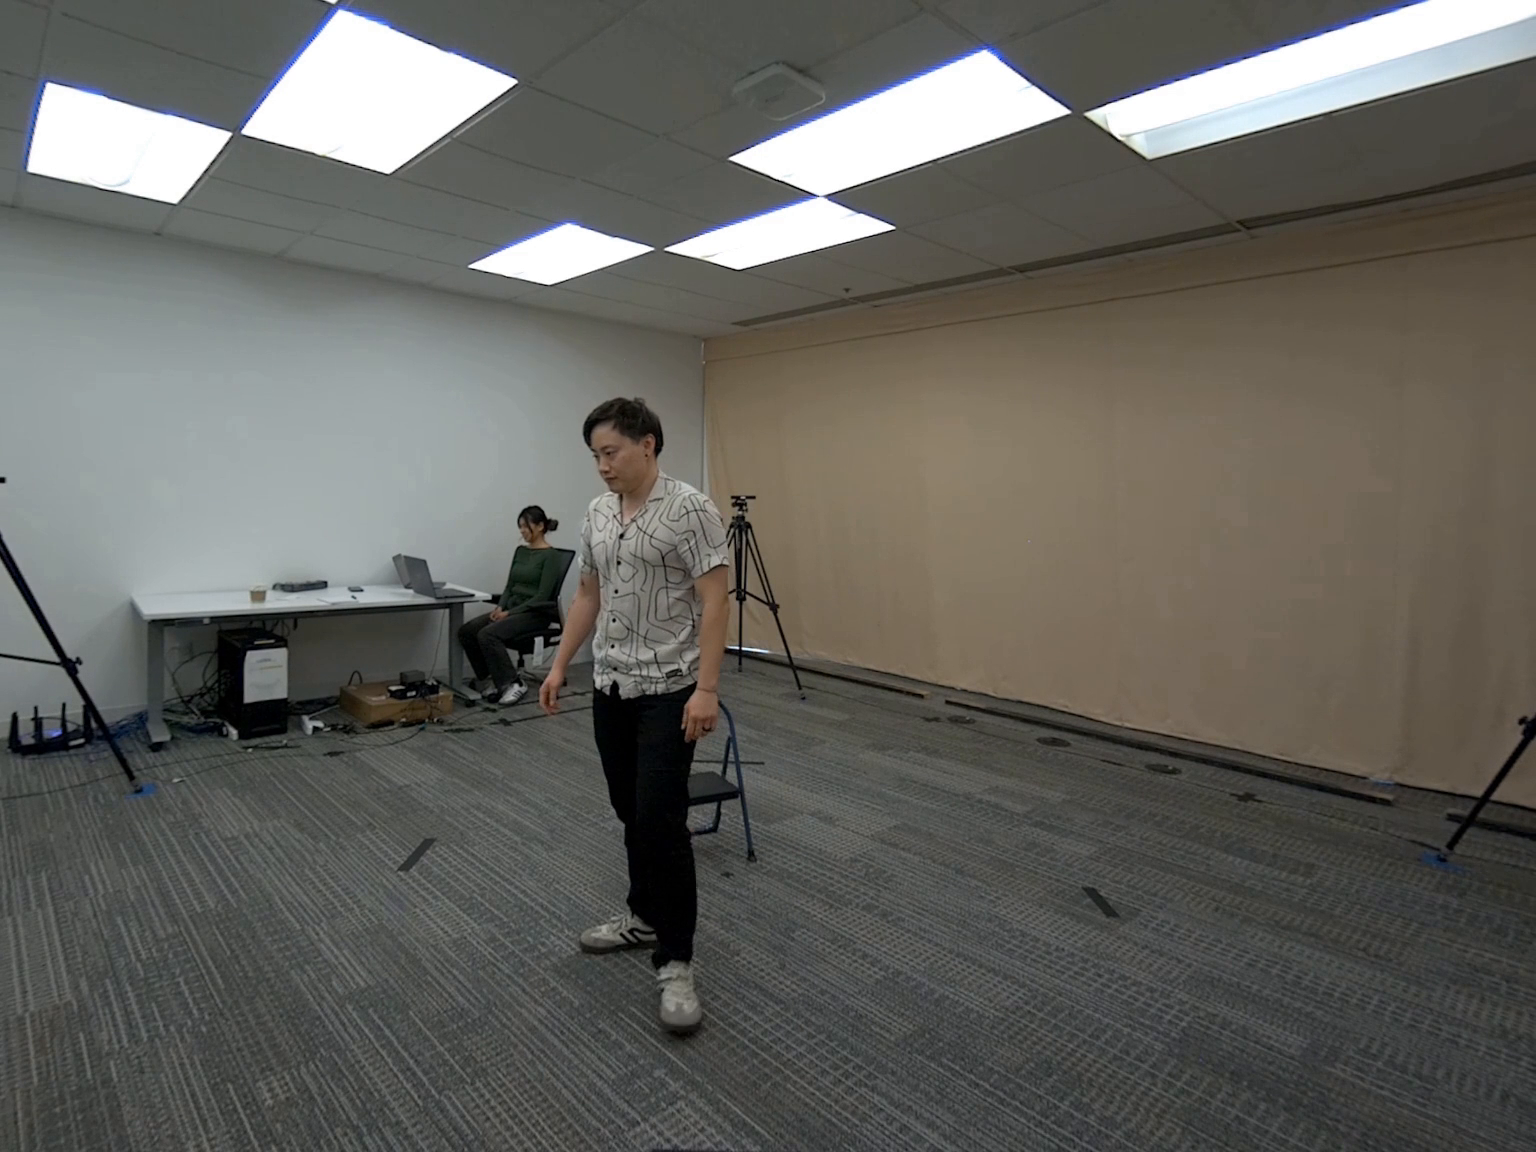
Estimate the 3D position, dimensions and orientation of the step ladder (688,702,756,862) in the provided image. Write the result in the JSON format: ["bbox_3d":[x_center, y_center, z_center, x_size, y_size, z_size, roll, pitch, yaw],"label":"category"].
[{"bbox_3d":[-0.306,0.780,3.270,0.422,0.605,0.357,-1,3,-30],"label":"step ladder"}]
